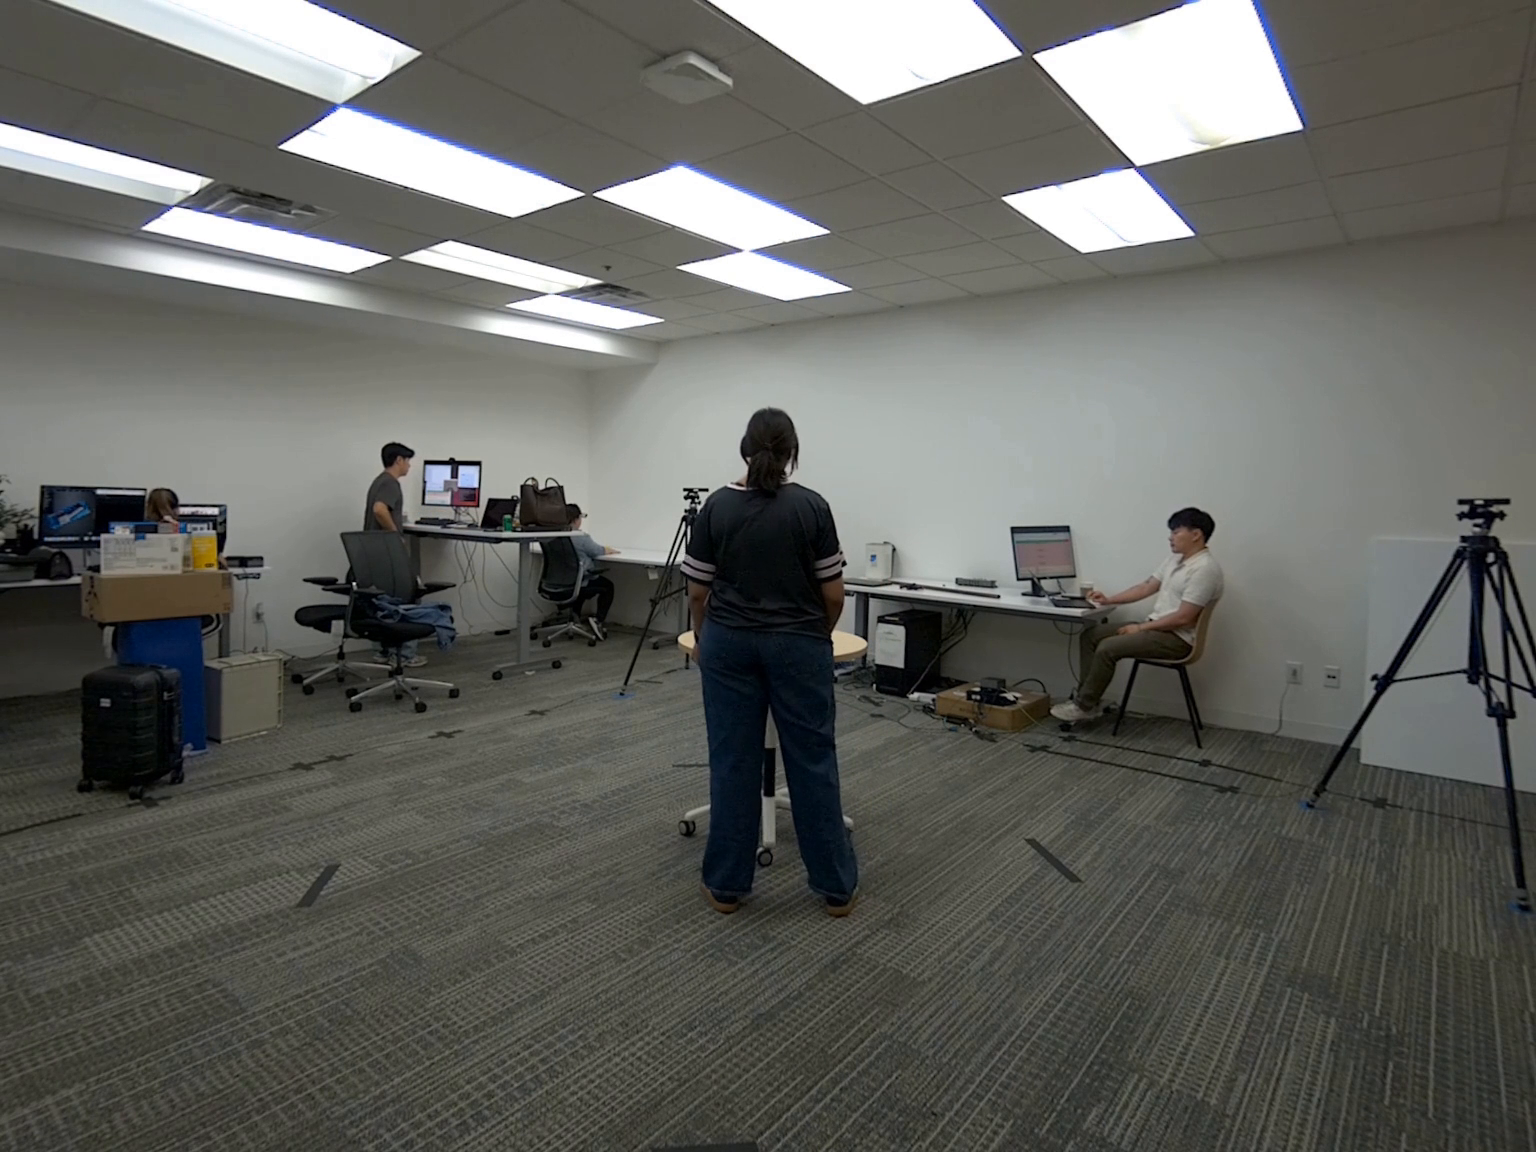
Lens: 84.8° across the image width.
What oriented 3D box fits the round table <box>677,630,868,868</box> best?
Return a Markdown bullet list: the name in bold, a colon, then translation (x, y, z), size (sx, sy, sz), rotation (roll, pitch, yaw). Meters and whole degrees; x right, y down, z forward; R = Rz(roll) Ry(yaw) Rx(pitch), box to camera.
- **round table**: translation (0.006, 0.647, 3.478), size (0.763, 0.791, 0.768), rotation (1, 4, -2)
